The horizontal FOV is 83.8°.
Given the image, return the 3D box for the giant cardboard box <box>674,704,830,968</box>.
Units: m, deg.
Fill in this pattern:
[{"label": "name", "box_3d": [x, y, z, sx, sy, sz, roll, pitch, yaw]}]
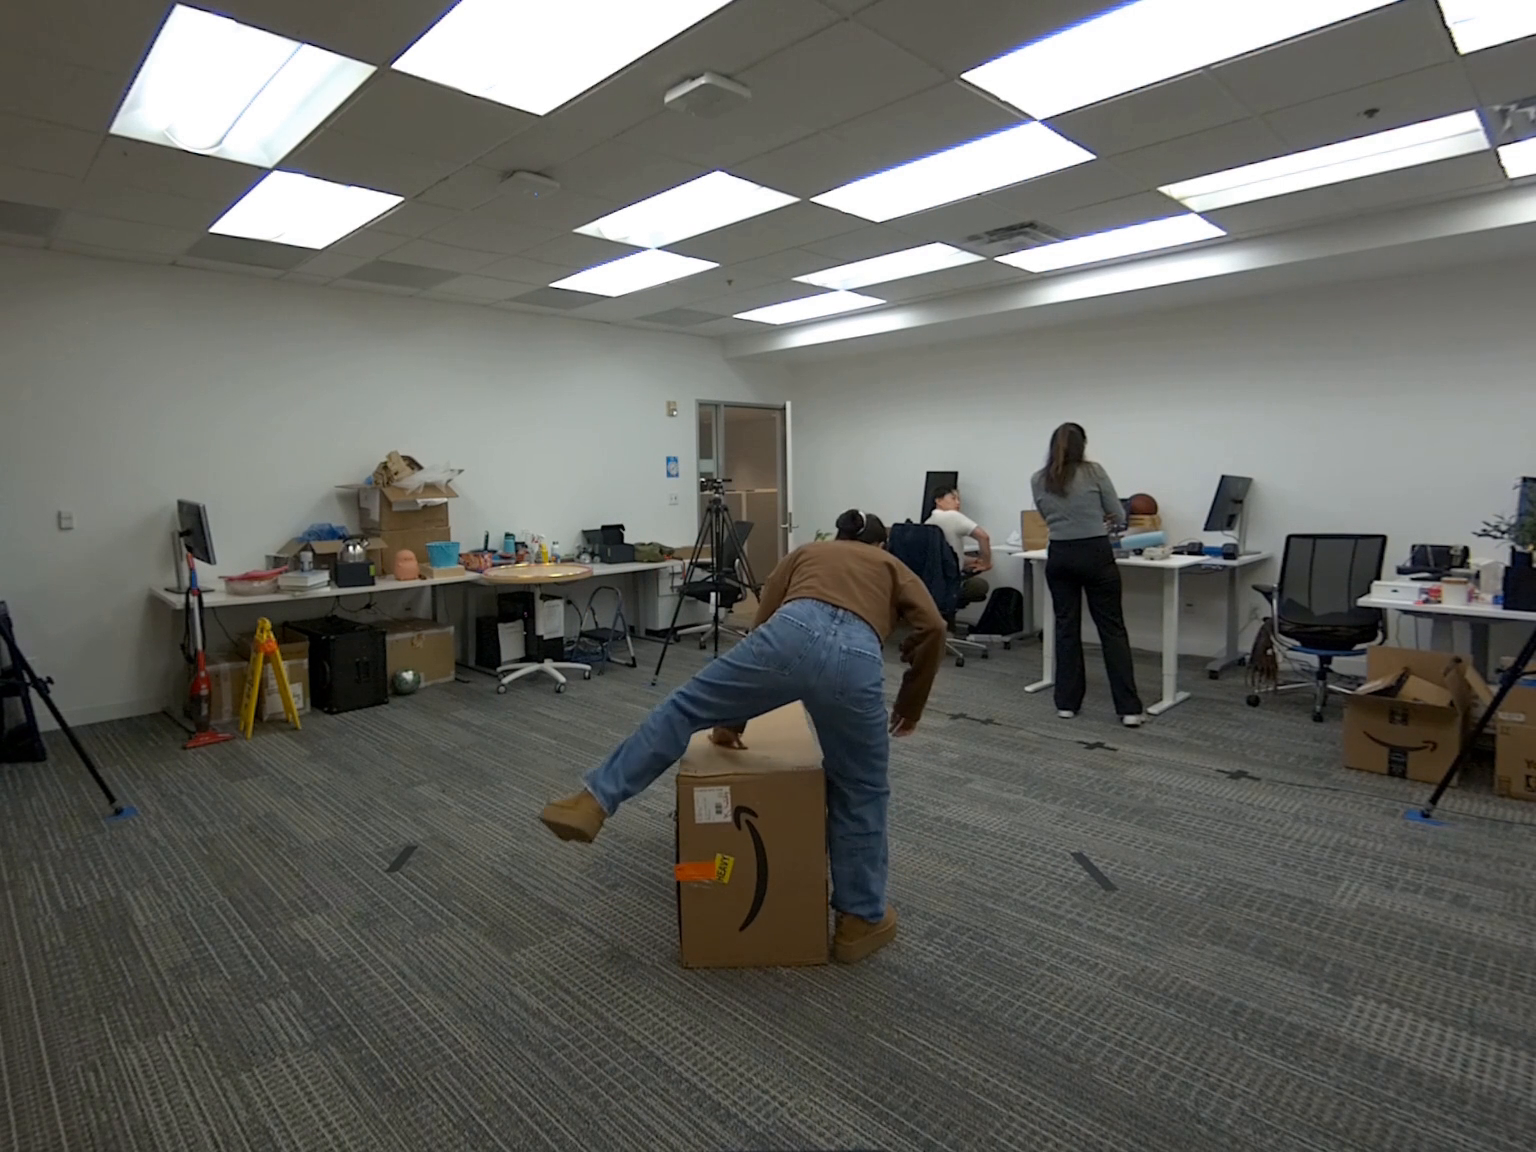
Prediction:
[{"label": "giant cardboard box", "box_3d": [-0.069, 0.781, 2.944, 0.446, 0.581, 1.032, 0, 6, -2]}]
